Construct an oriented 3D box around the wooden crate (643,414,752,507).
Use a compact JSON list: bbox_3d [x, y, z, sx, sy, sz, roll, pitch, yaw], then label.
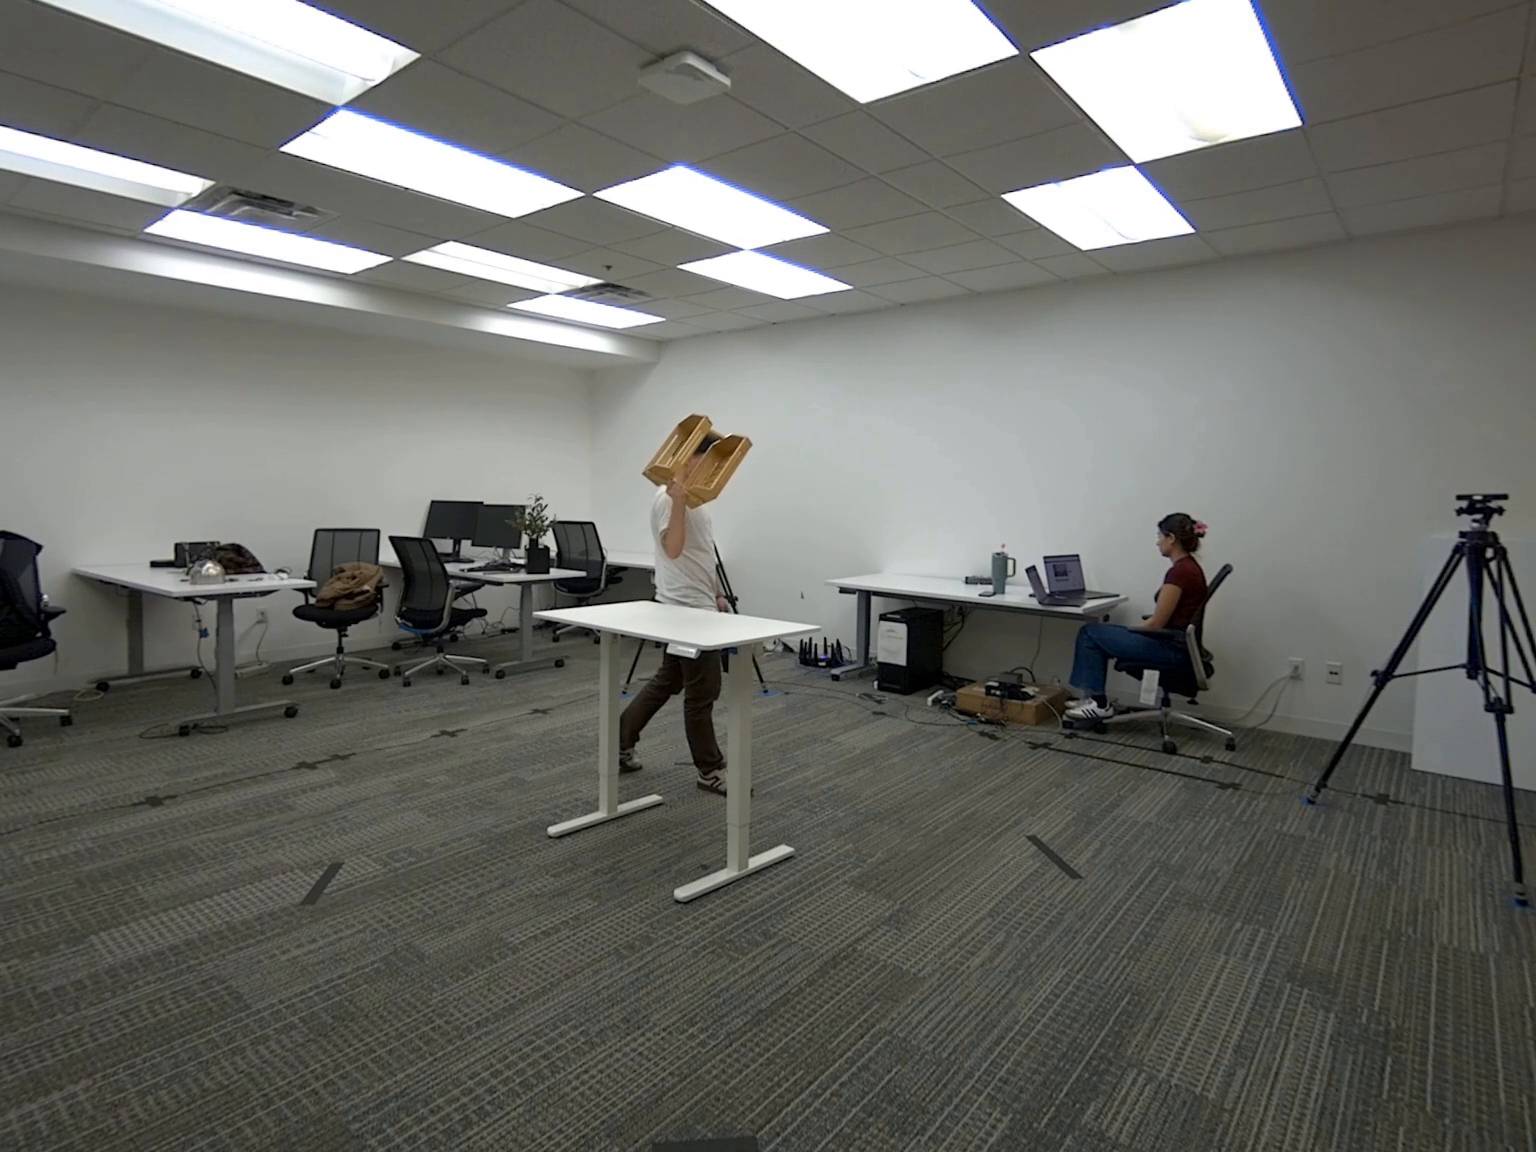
[{"bbox_3d":[-0.313,-0.502,3.563,0.267,0.326,0.307,40,-25,-17],"label":"wooden crate"}]
